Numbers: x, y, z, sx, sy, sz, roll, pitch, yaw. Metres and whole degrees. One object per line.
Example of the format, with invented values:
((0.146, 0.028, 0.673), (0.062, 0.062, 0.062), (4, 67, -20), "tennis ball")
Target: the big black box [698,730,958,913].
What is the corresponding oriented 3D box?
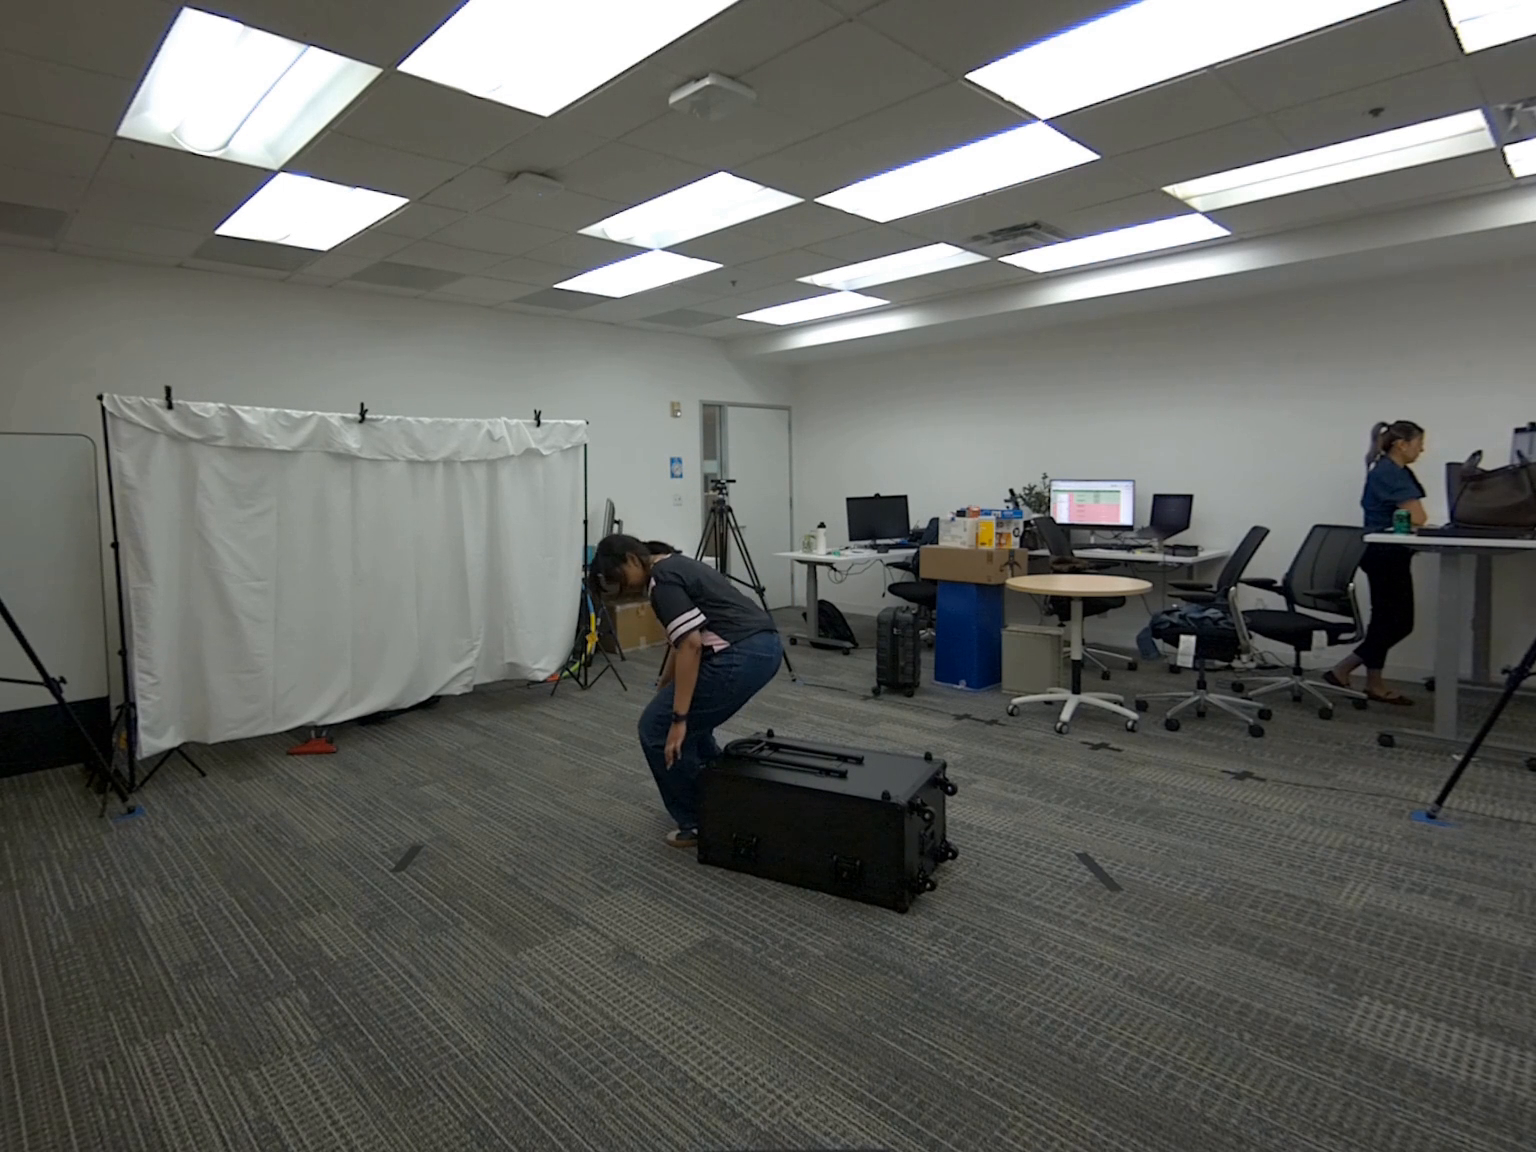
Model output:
((0.237, 0.857, 3.104), (0.891, 0.384, 0.512), (2, 5, 28), "big black box")
